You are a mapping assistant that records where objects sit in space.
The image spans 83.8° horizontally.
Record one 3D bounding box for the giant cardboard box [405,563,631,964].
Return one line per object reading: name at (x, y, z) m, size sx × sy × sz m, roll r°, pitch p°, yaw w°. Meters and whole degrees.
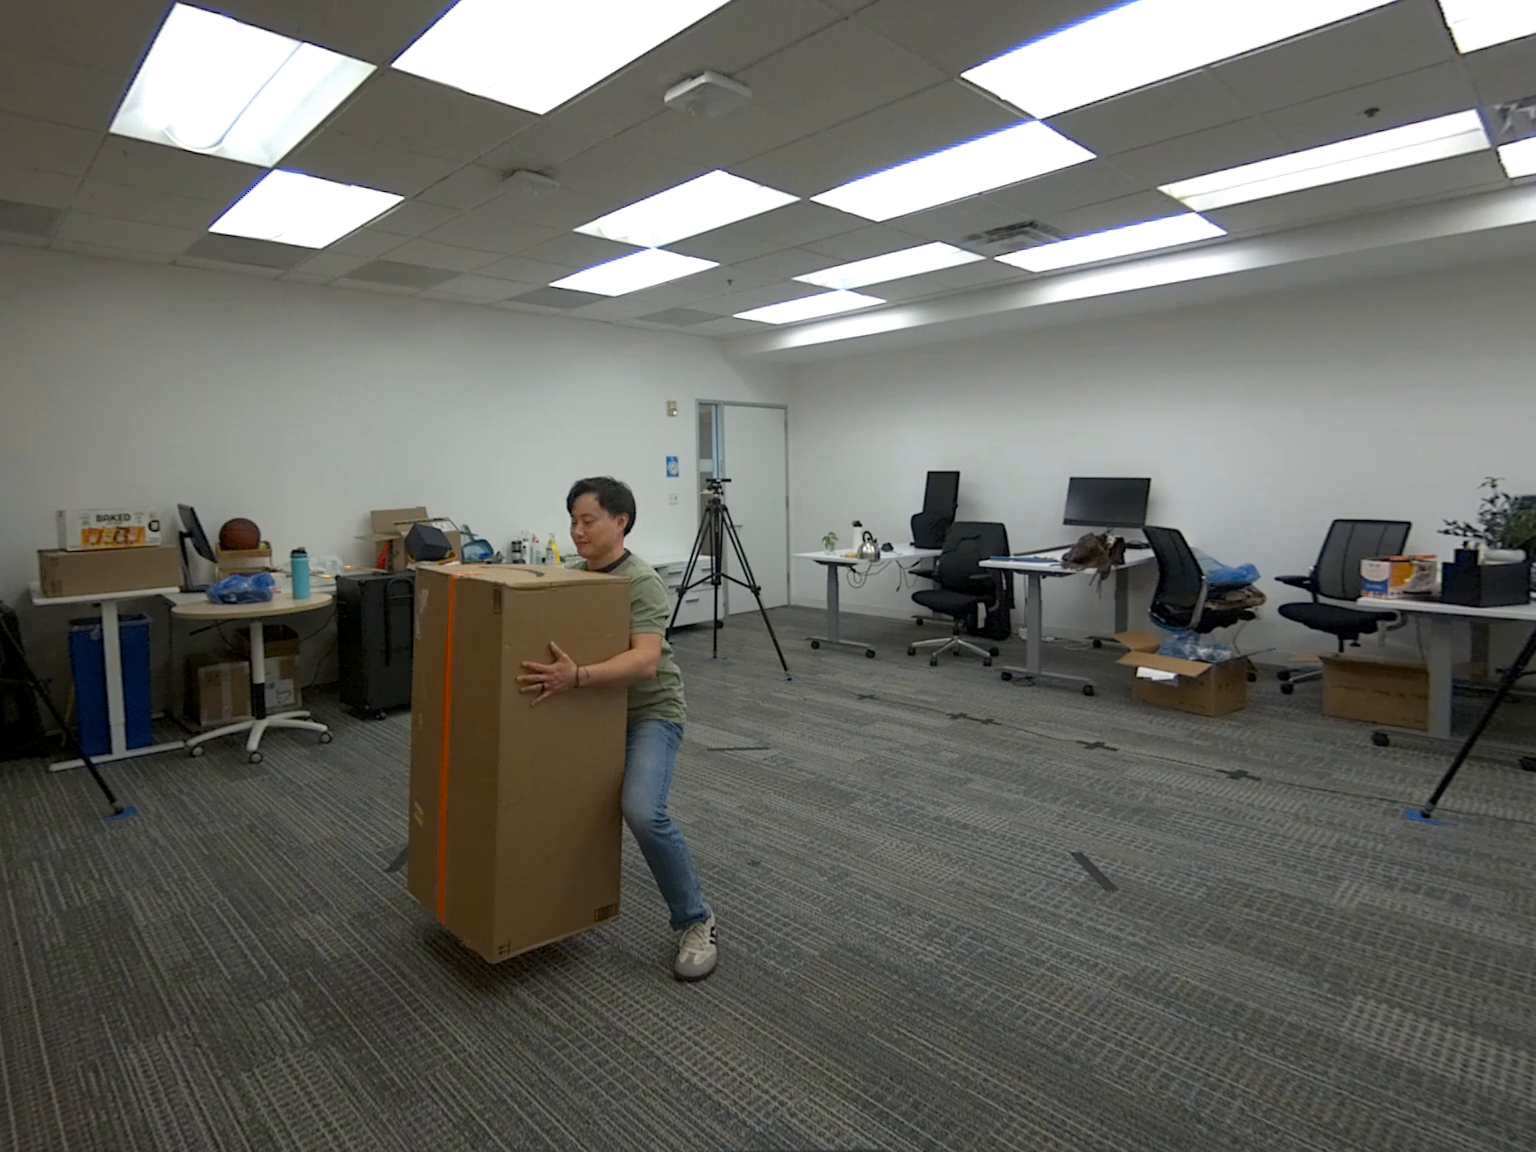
giant cardboard box at (-0.777, 0.503, 2.600) m, size 0.414 × 1.024 × 0.595 m, roll 0°, pitch 3°, yaw -43°
